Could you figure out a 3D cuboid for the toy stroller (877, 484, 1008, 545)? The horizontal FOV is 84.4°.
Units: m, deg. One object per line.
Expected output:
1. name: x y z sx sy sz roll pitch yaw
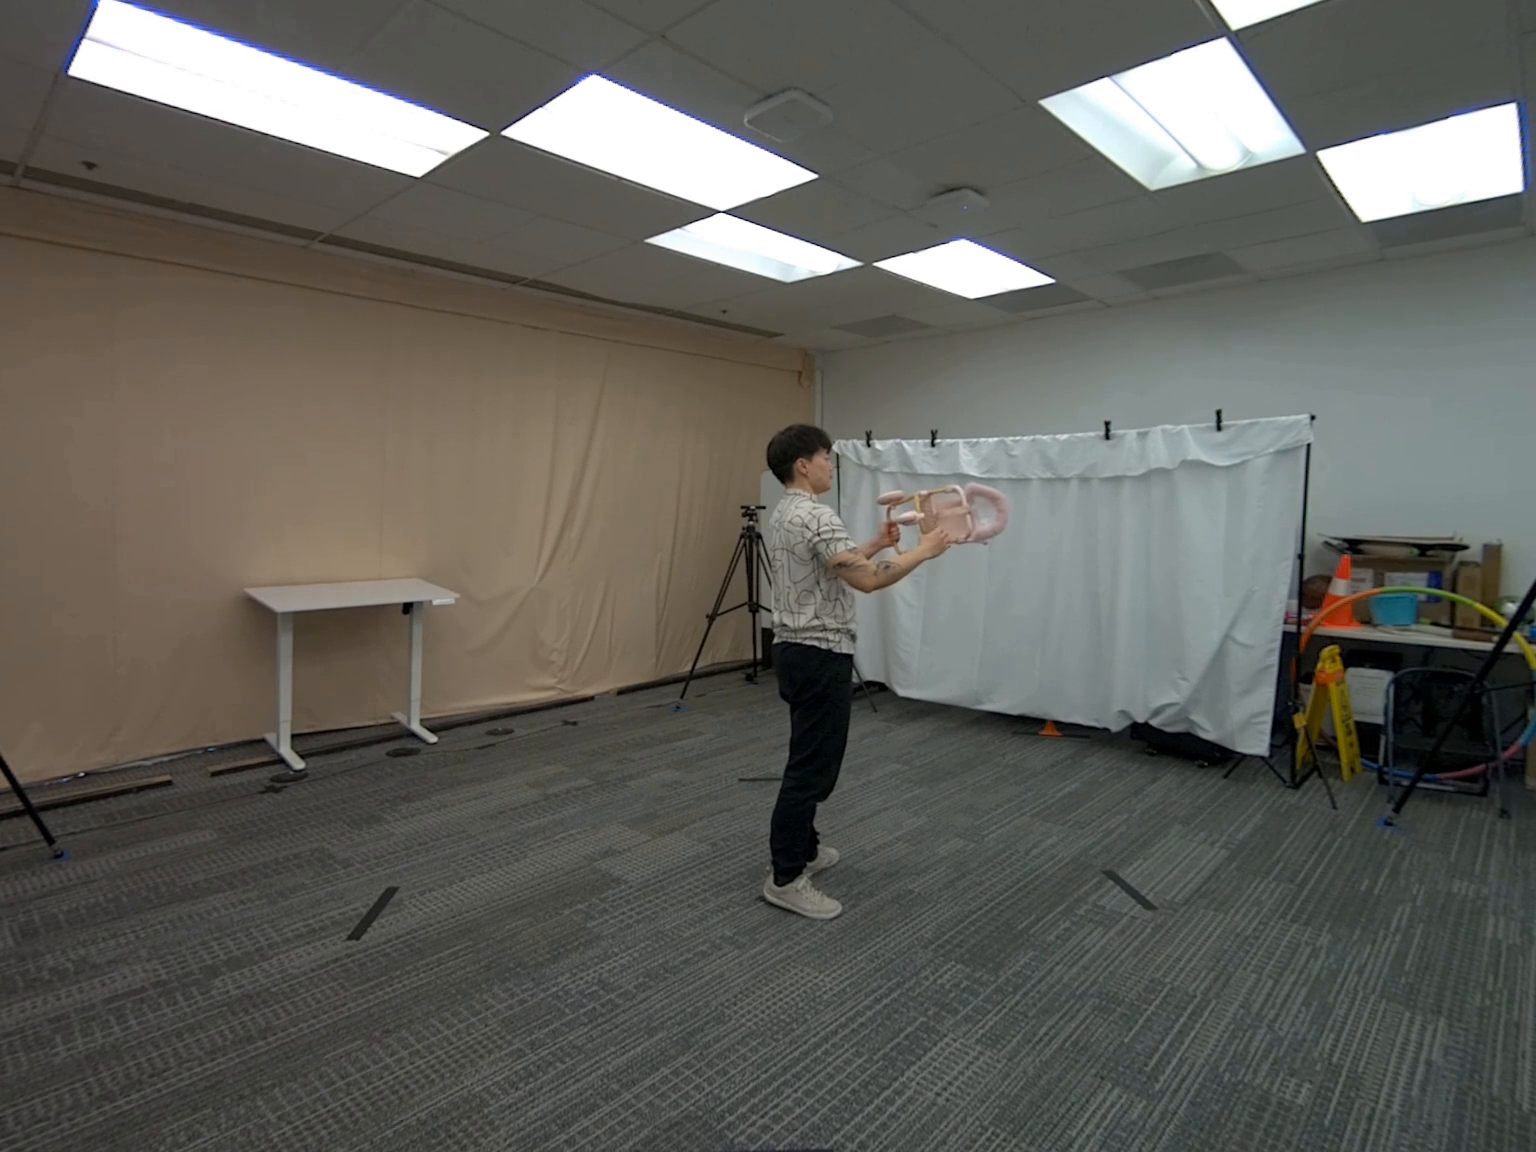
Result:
1. toy stroller: 0.672 -0.214 3.113 0.527 0.284 0.344 -8 -10 -16
